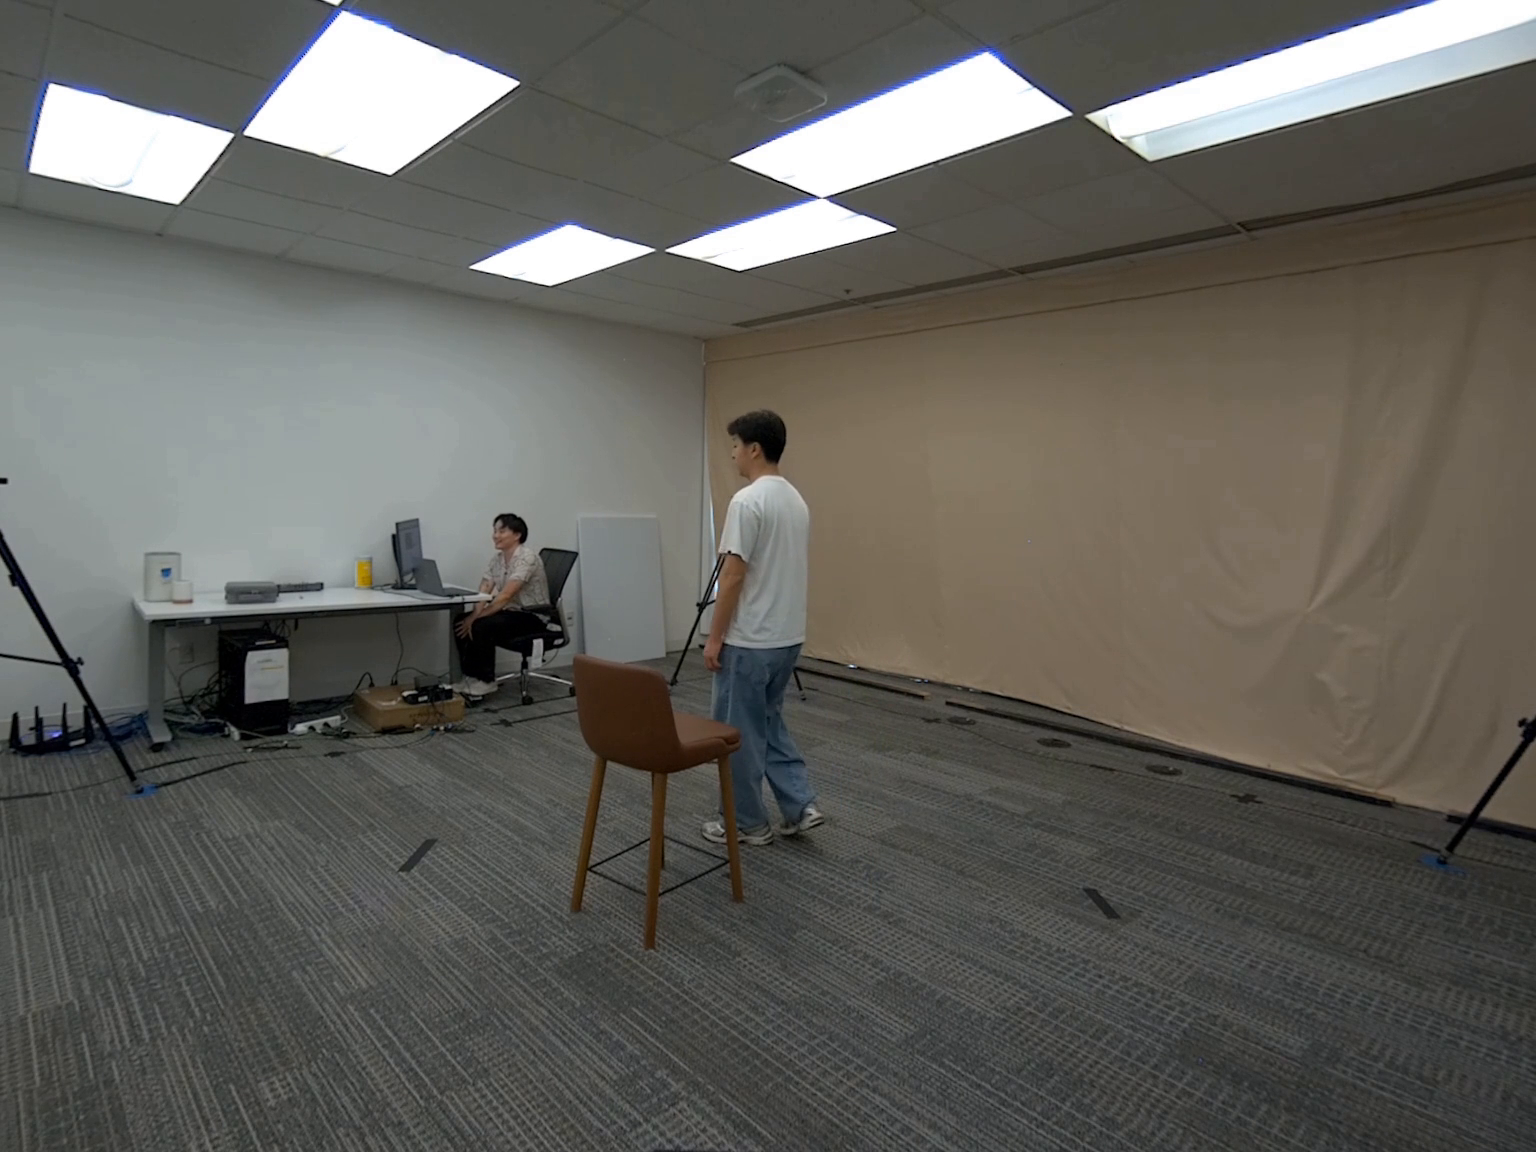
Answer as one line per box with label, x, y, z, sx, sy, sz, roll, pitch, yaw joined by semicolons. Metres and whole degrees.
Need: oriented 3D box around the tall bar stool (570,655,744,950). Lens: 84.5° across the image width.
tall bar stool;-0.383;0.688;2.845;0.468;0.886;0.458;4;6;38
